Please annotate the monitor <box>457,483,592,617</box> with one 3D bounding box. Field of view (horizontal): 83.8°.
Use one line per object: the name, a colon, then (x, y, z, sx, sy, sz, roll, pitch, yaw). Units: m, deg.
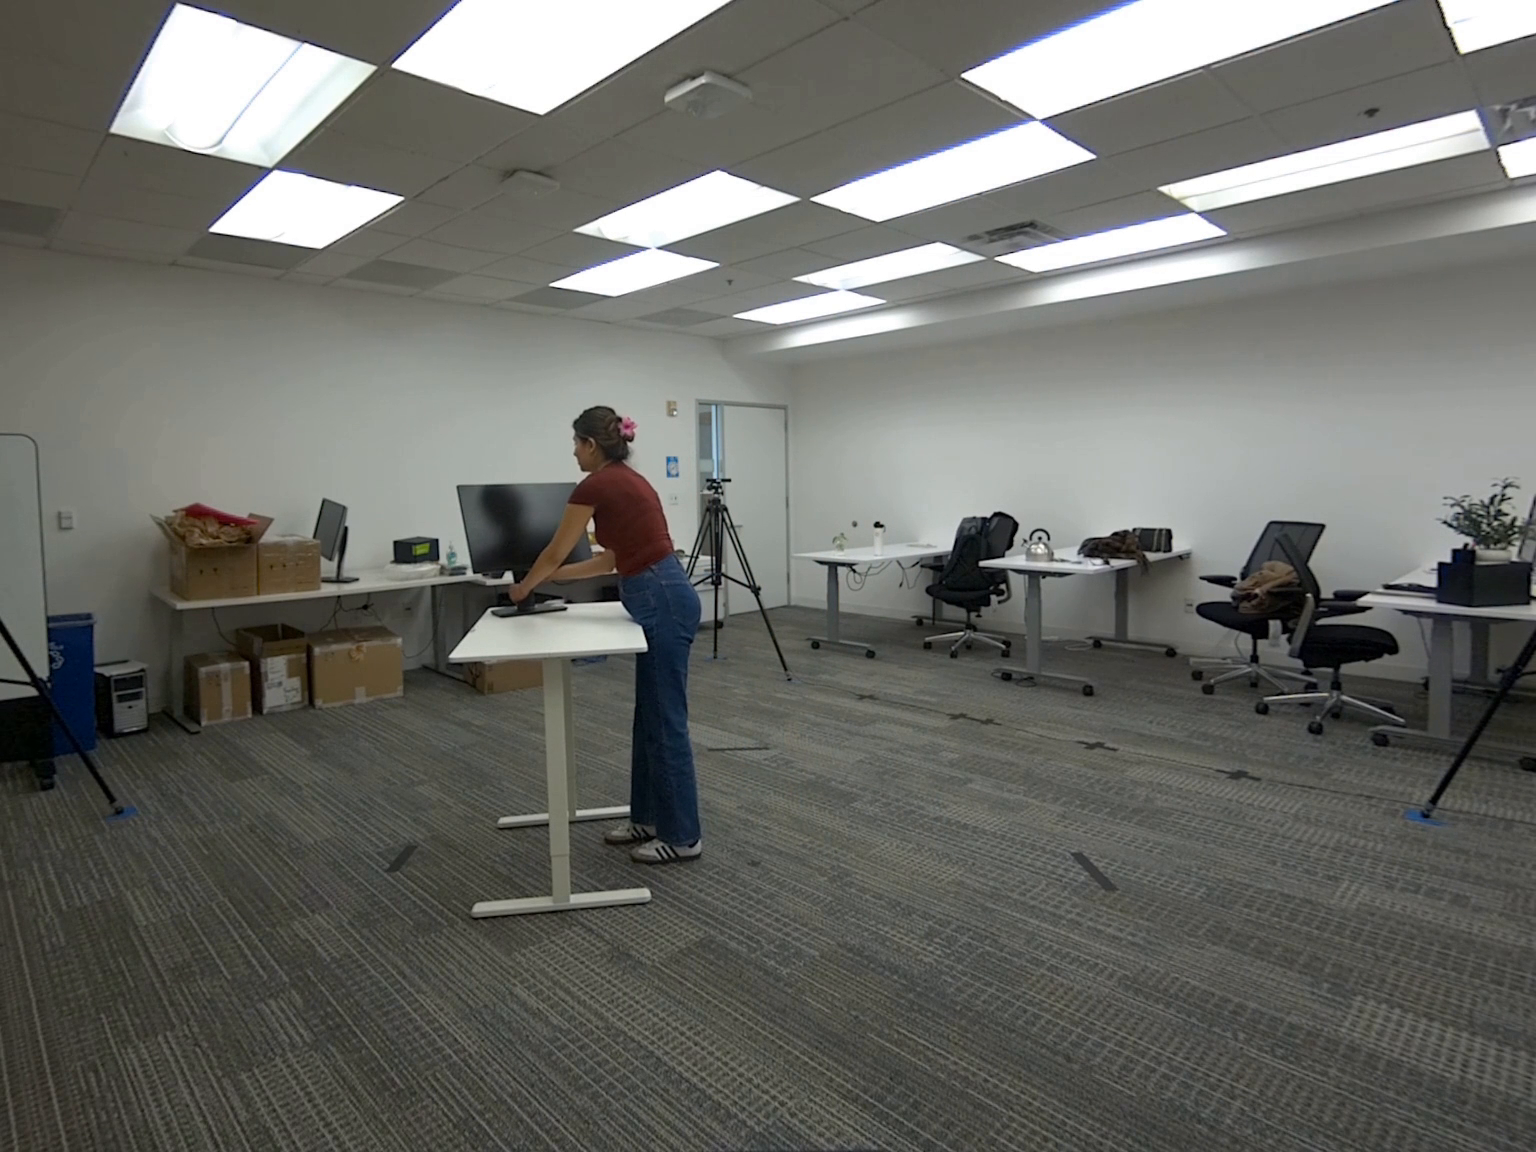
monitor: (-0.971, -0.113, 3.426, 0.525, 0.522, 0.192, -6, 1, -43)
